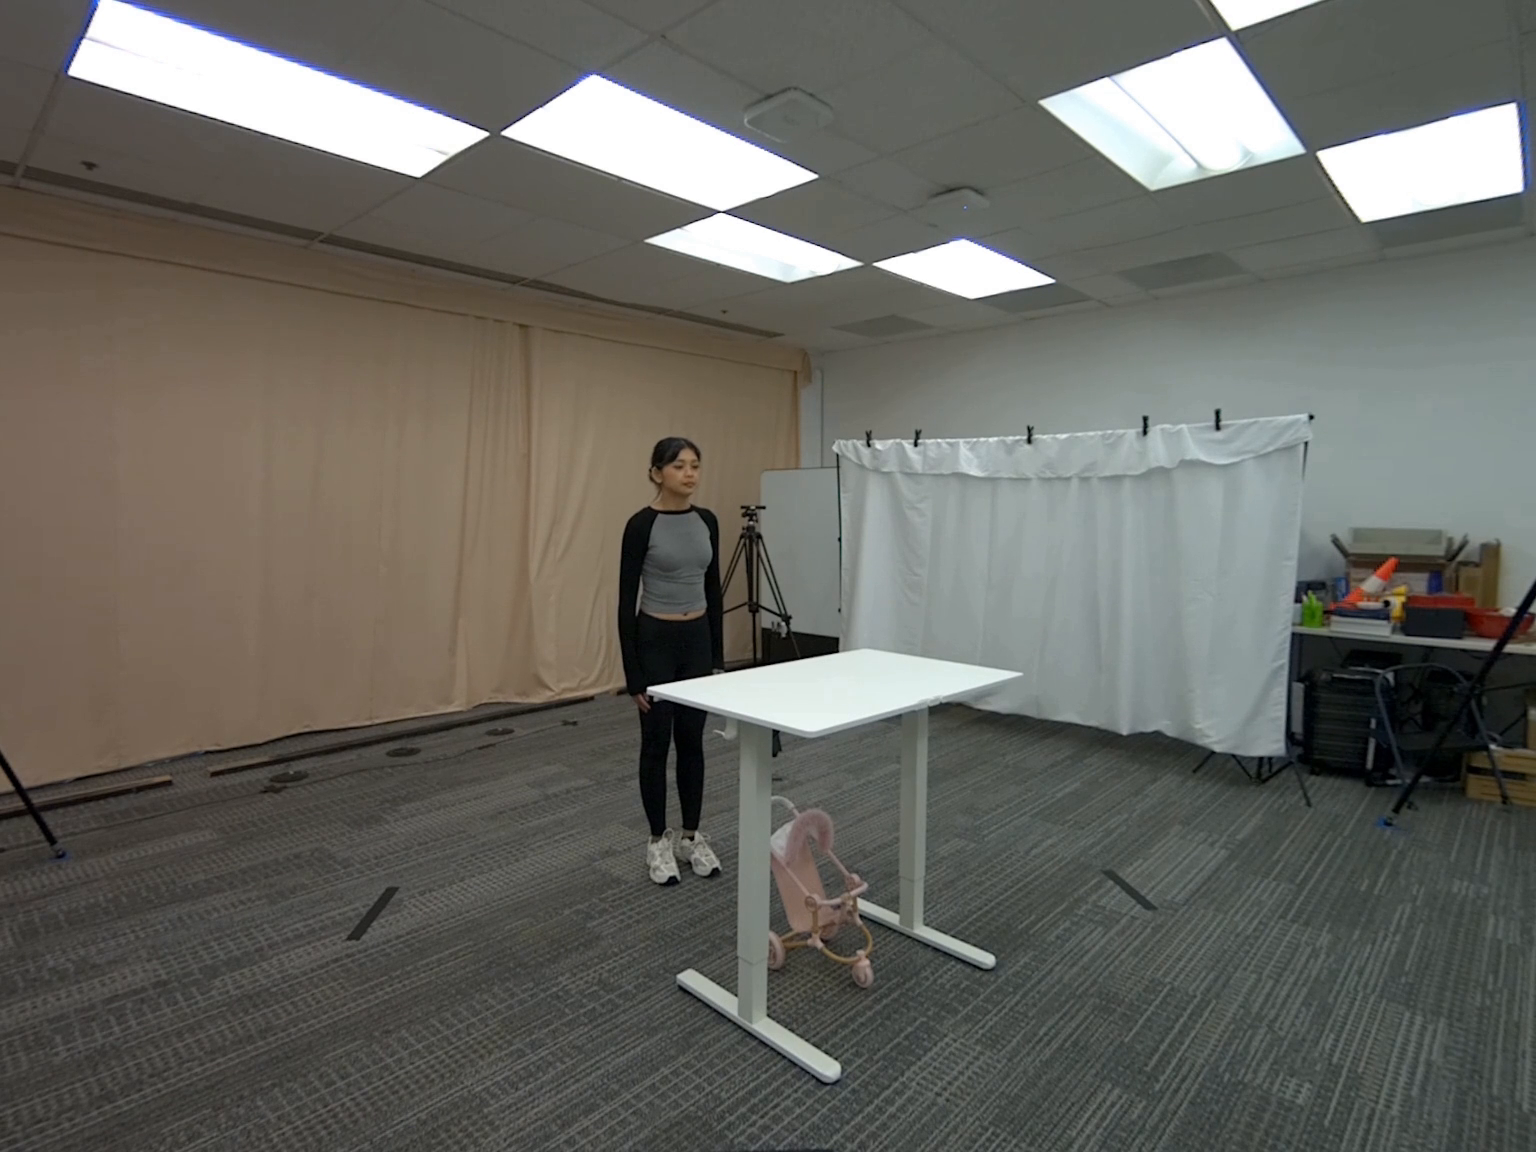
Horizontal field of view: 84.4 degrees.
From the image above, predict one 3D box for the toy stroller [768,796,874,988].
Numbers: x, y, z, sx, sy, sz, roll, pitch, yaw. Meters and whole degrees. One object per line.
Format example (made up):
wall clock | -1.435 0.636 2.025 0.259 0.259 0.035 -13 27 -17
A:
toy stroller | 0.143 0.954 2.560 0.273 0.539 0.349 -3 -11 -40
